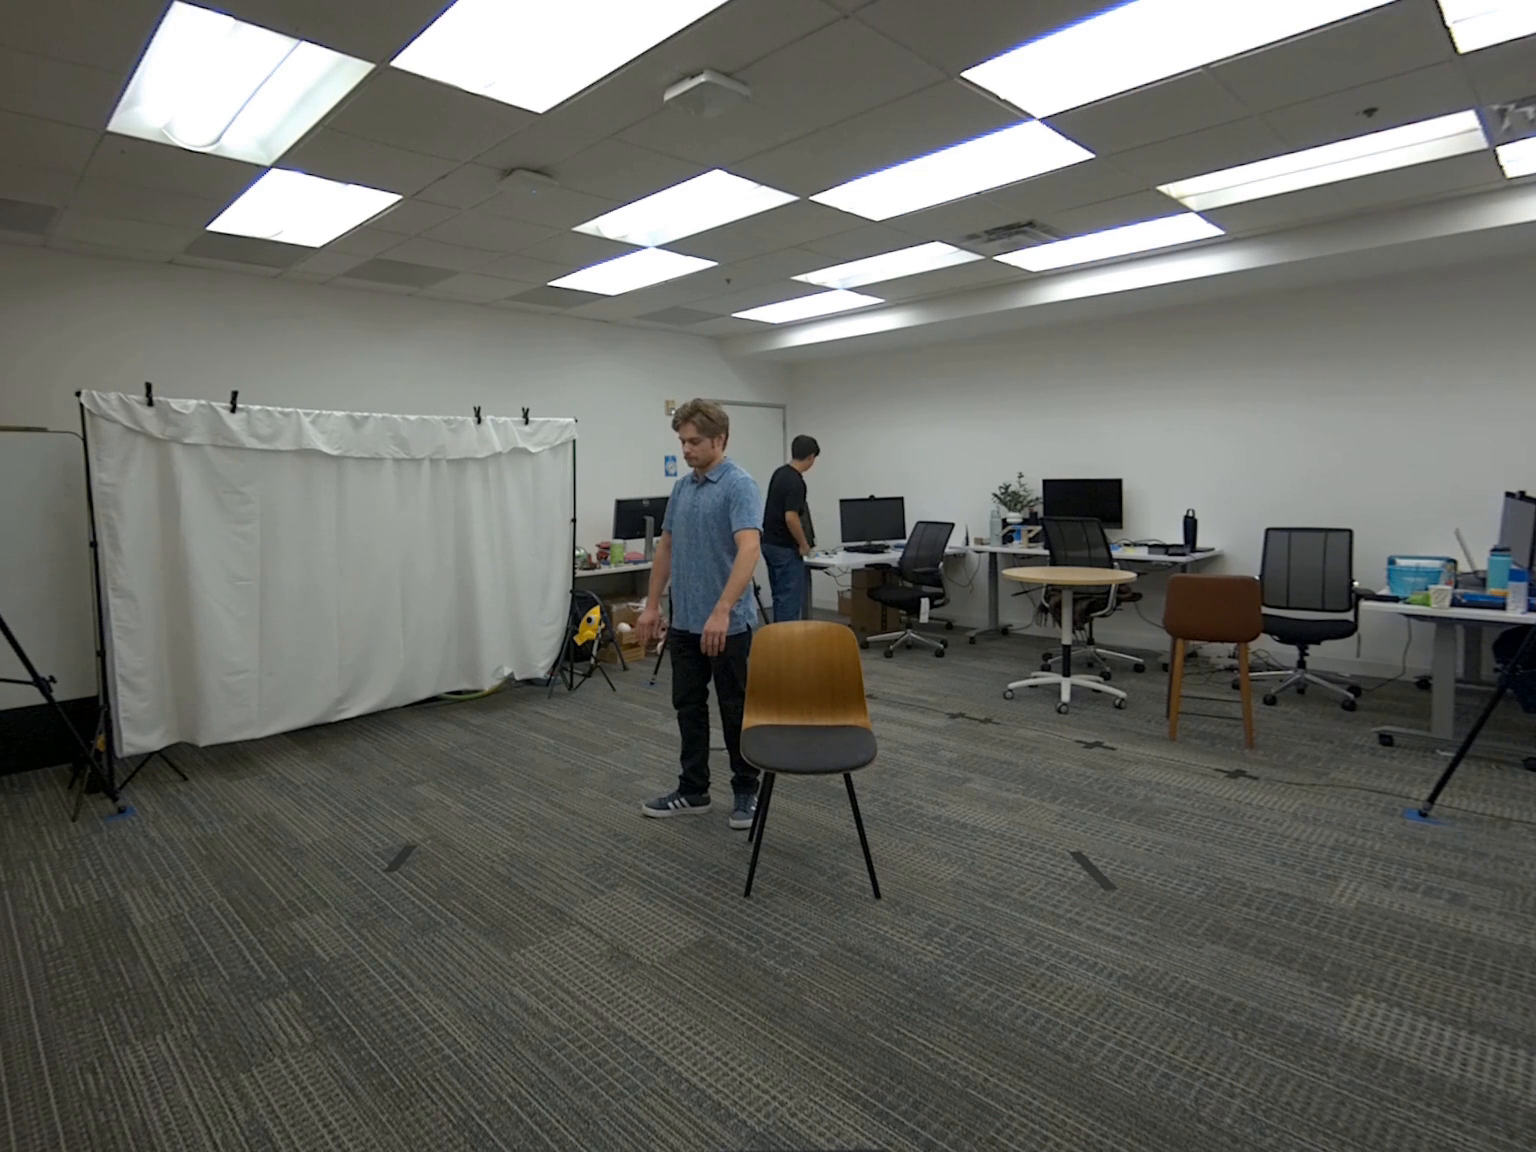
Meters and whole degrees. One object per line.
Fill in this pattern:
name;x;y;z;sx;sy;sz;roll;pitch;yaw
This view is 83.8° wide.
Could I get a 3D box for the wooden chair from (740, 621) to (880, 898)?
wooden chair;0.150;0.623;3.015;0.479;0.878;0.522;0;0;1
